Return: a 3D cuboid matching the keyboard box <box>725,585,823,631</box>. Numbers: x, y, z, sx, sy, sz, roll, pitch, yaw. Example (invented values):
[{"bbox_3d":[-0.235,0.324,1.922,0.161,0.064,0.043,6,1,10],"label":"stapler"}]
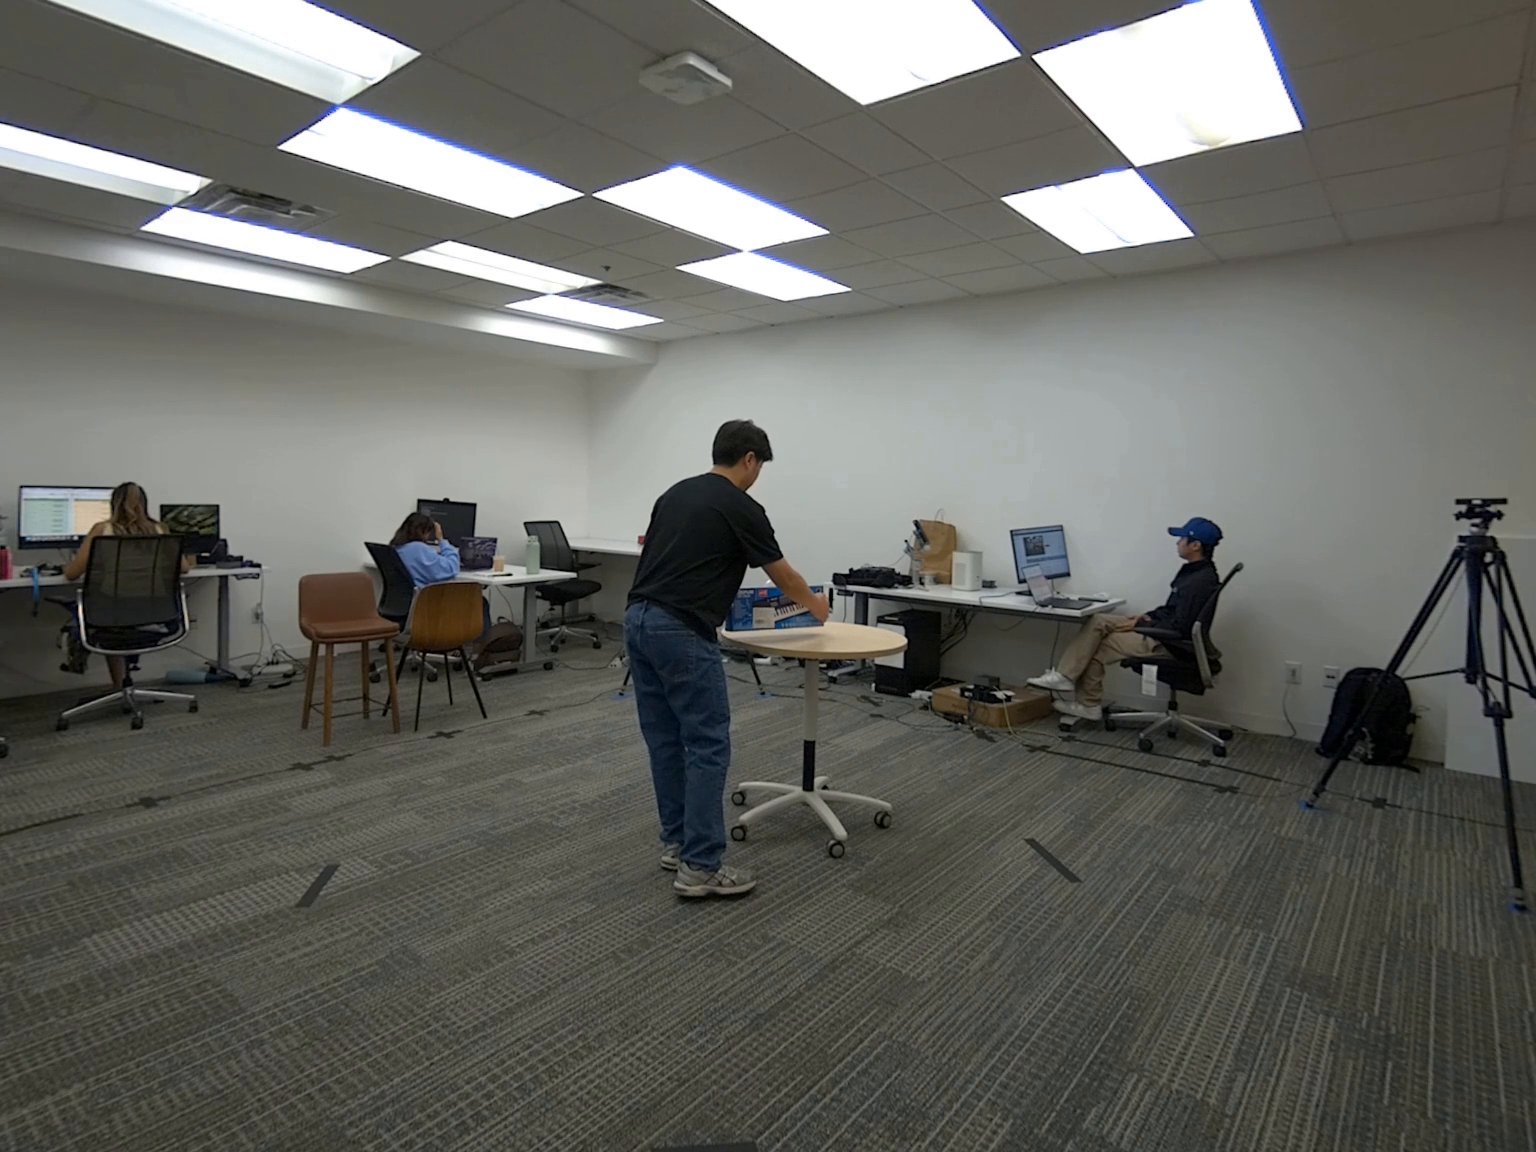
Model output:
[{"bbox_3d":[0.021,0.132,3.453,0.426,0.176,0.060,-2,-3,-26],"label":"keyboard box"}]
